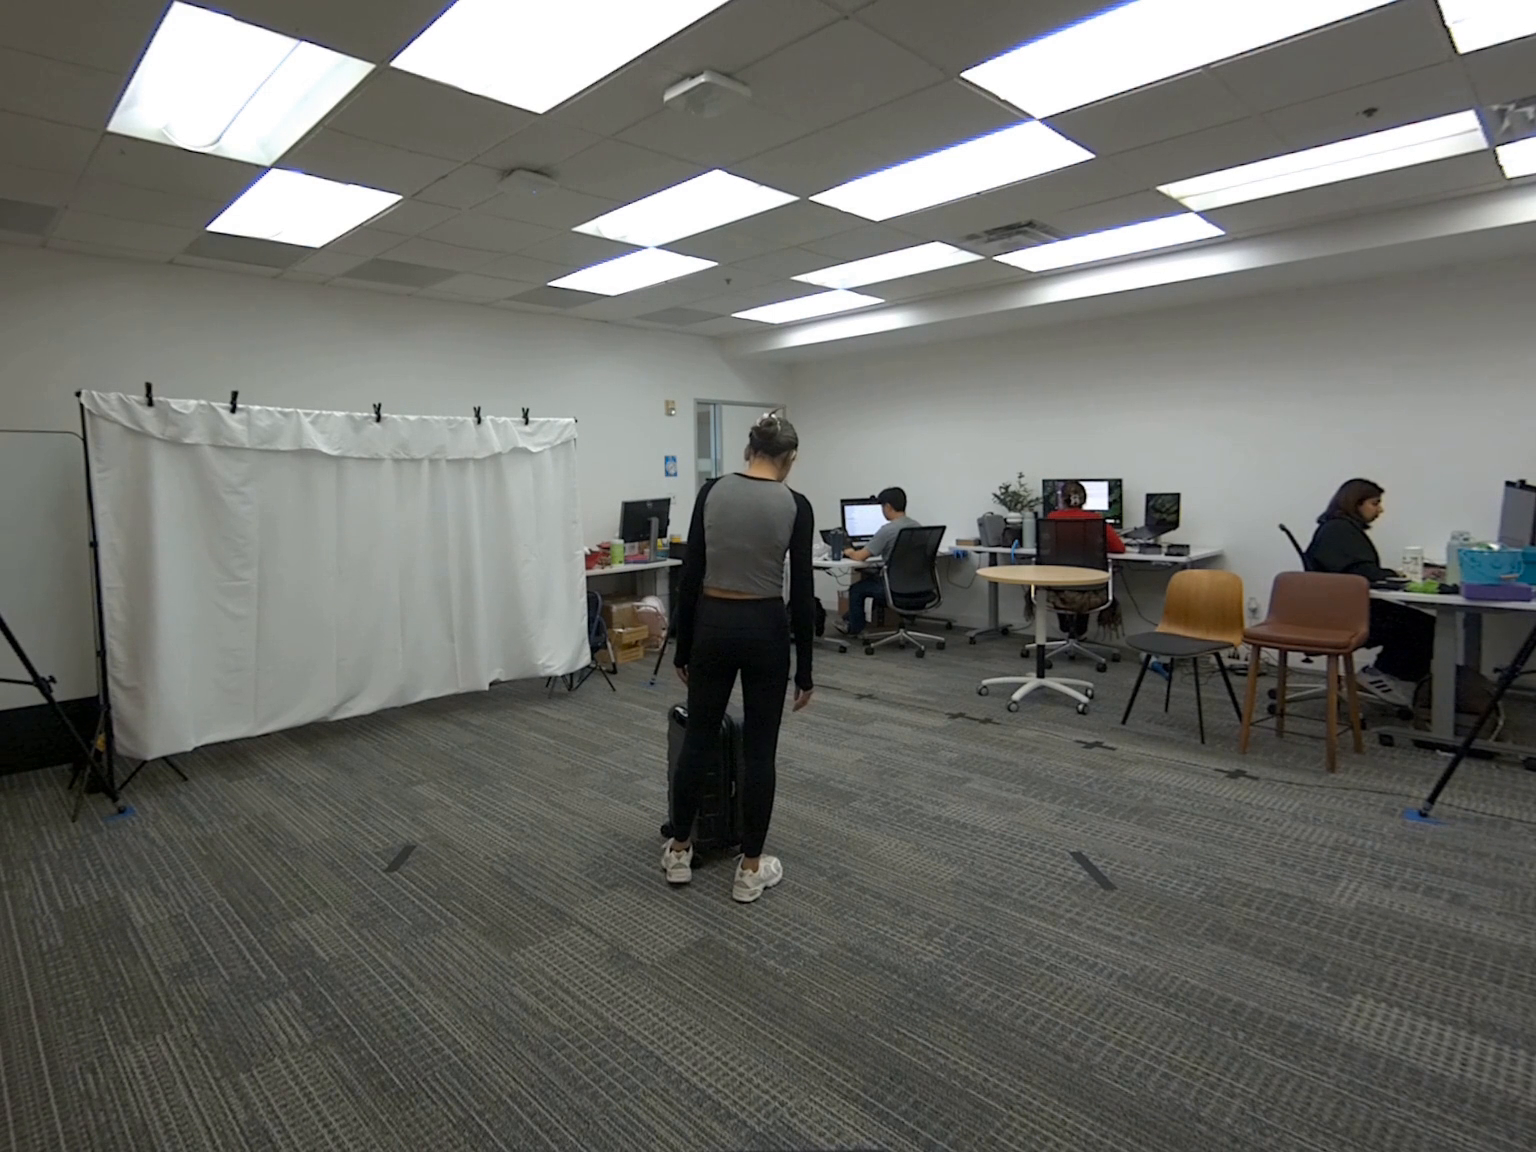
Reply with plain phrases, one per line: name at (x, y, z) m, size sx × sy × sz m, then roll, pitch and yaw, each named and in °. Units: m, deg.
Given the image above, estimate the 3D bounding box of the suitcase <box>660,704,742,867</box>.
suitcase at (-0.213, 0.750, 3.240) m, size 0.243 × 0.547 × 0.384 m, roll -2°, pitch 5°, yaw -24°
